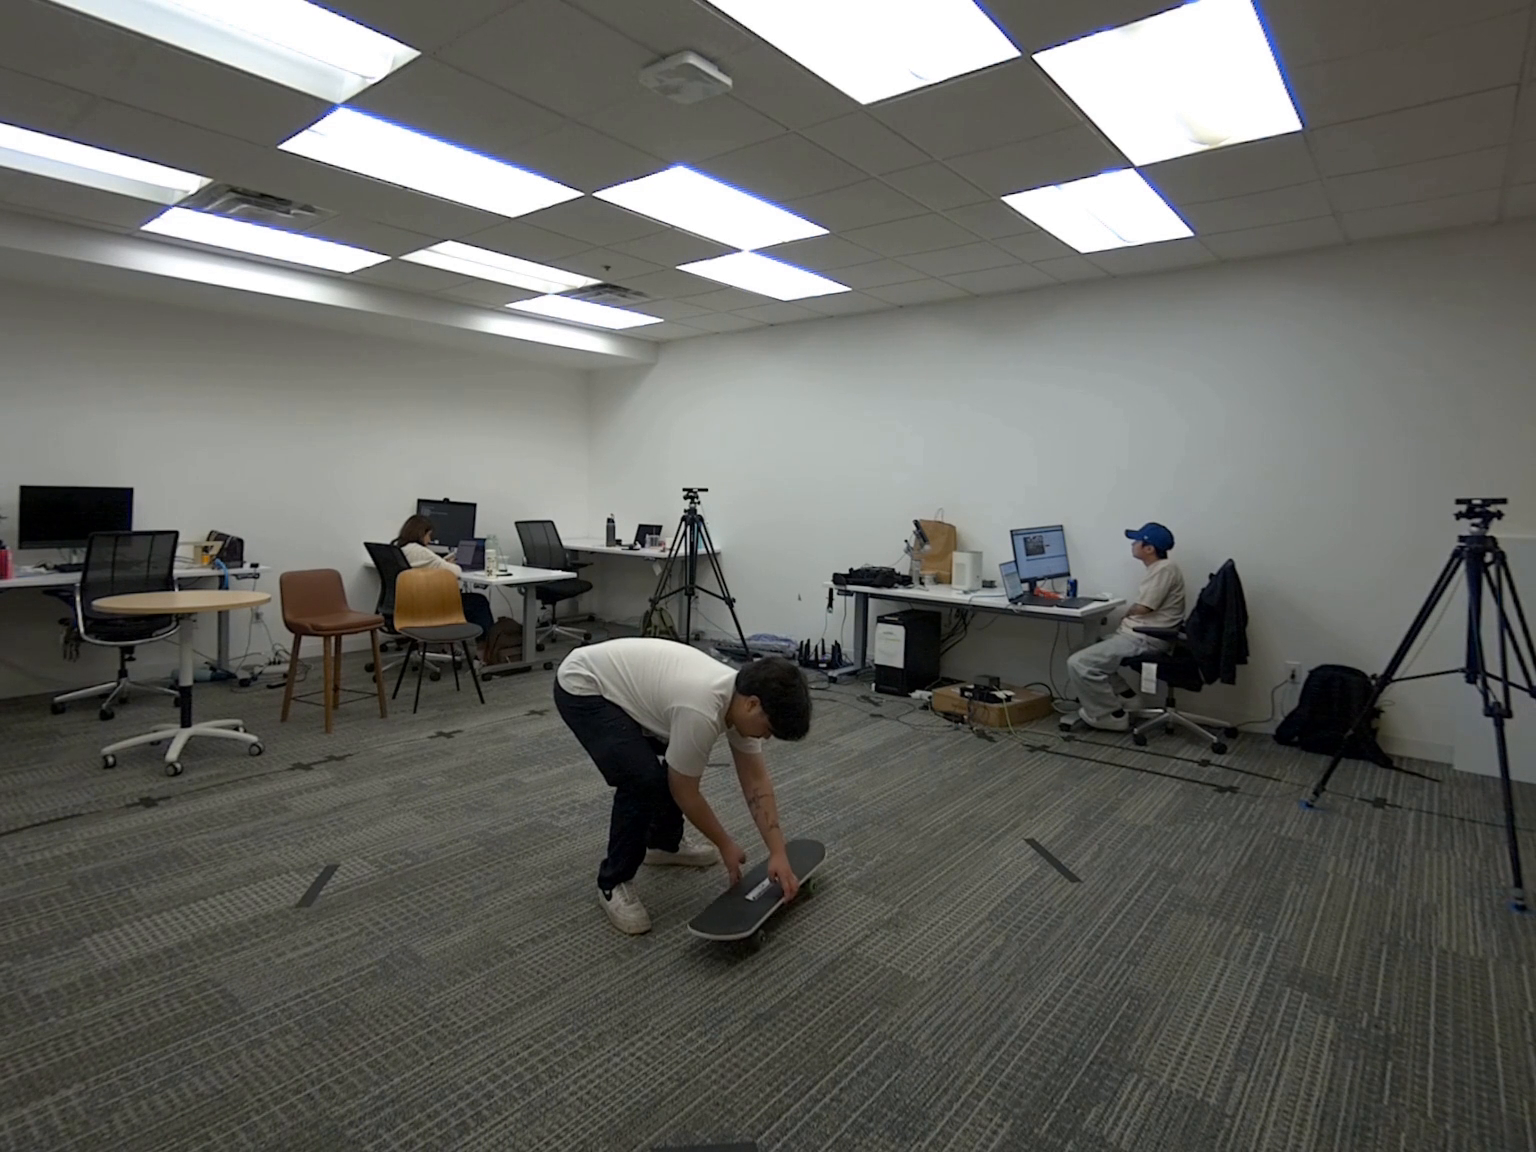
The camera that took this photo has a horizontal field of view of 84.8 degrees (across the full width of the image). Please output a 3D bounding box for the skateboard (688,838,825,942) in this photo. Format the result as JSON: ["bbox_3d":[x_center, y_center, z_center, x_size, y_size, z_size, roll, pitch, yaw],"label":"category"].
[{"bbox_3d":[-0.022,1.040,2.778,0.198,0.110,0.767,-2,4,27],"label":"skateboard"}]
